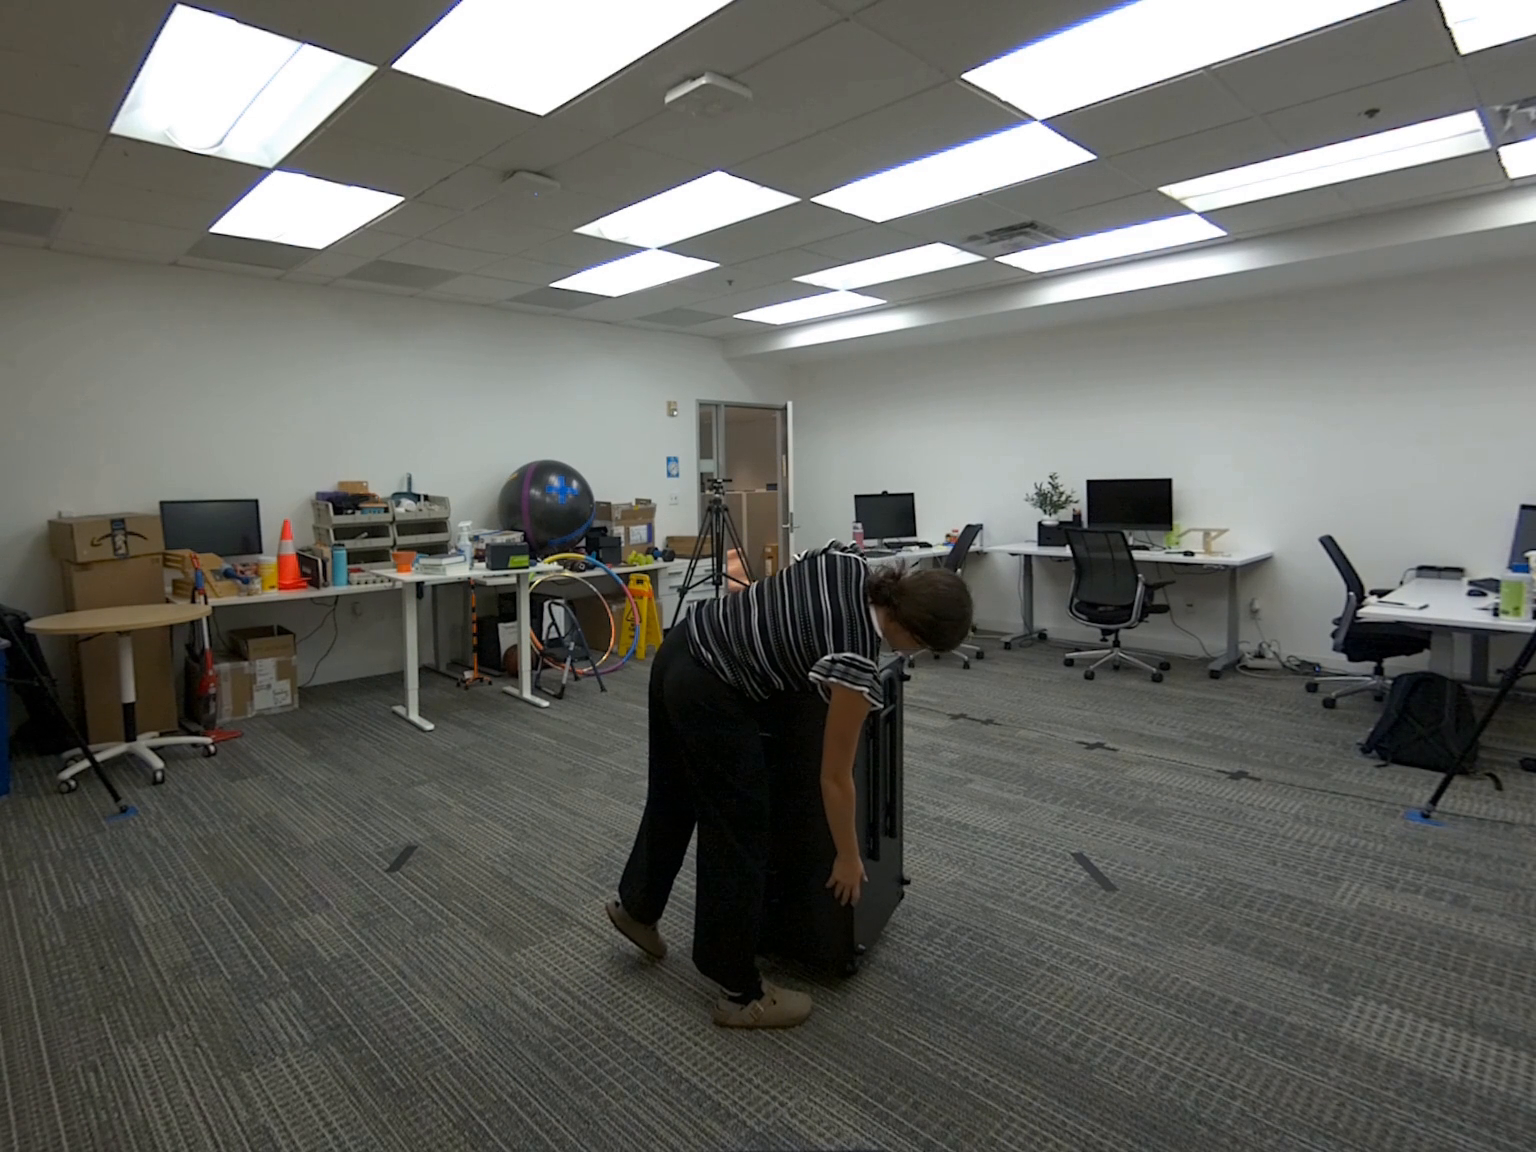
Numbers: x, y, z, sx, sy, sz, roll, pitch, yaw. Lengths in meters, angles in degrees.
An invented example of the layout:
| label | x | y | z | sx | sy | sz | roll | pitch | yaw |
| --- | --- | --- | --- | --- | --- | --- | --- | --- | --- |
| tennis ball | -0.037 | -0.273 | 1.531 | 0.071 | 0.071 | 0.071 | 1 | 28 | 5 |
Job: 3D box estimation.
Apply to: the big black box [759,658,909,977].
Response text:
| label | x | y | z | sx | sy | sz | roll | pitch | yaw |
| --- | --- | --- | --- | --- | --- | --- | --- | --- | --- |
| big black box | 0.180 | 0.685 | 2.546 | 0.407 | 0.857 | 0.510 | 4 | 7 | 28 |
